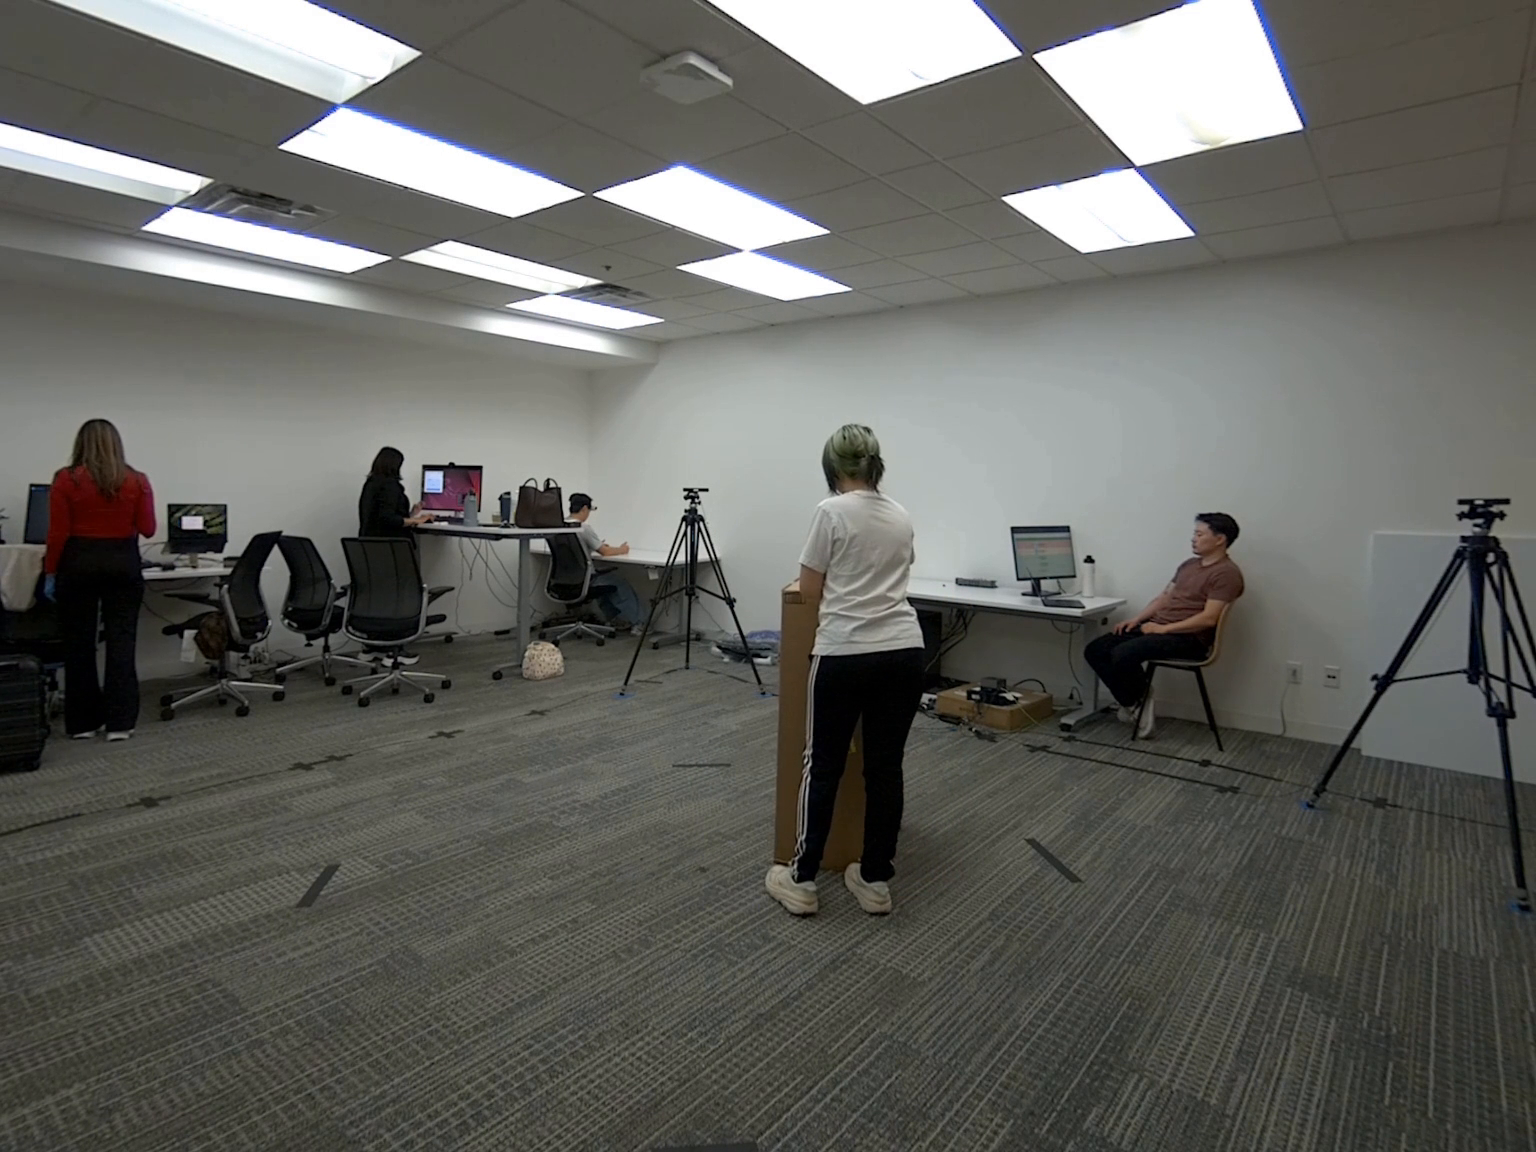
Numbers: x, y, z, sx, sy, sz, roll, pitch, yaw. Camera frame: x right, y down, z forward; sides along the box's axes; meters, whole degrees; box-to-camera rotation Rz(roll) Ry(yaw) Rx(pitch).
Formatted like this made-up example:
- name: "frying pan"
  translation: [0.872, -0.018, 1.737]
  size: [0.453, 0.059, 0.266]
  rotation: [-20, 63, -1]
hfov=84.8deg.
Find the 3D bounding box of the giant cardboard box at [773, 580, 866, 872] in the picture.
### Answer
- name: "giant cardboard box"
  translation: [0.280, 0.546, 3.375]
  size: [0.453, 1.025, 0.578]
  rotation: [2, 3, 11]
